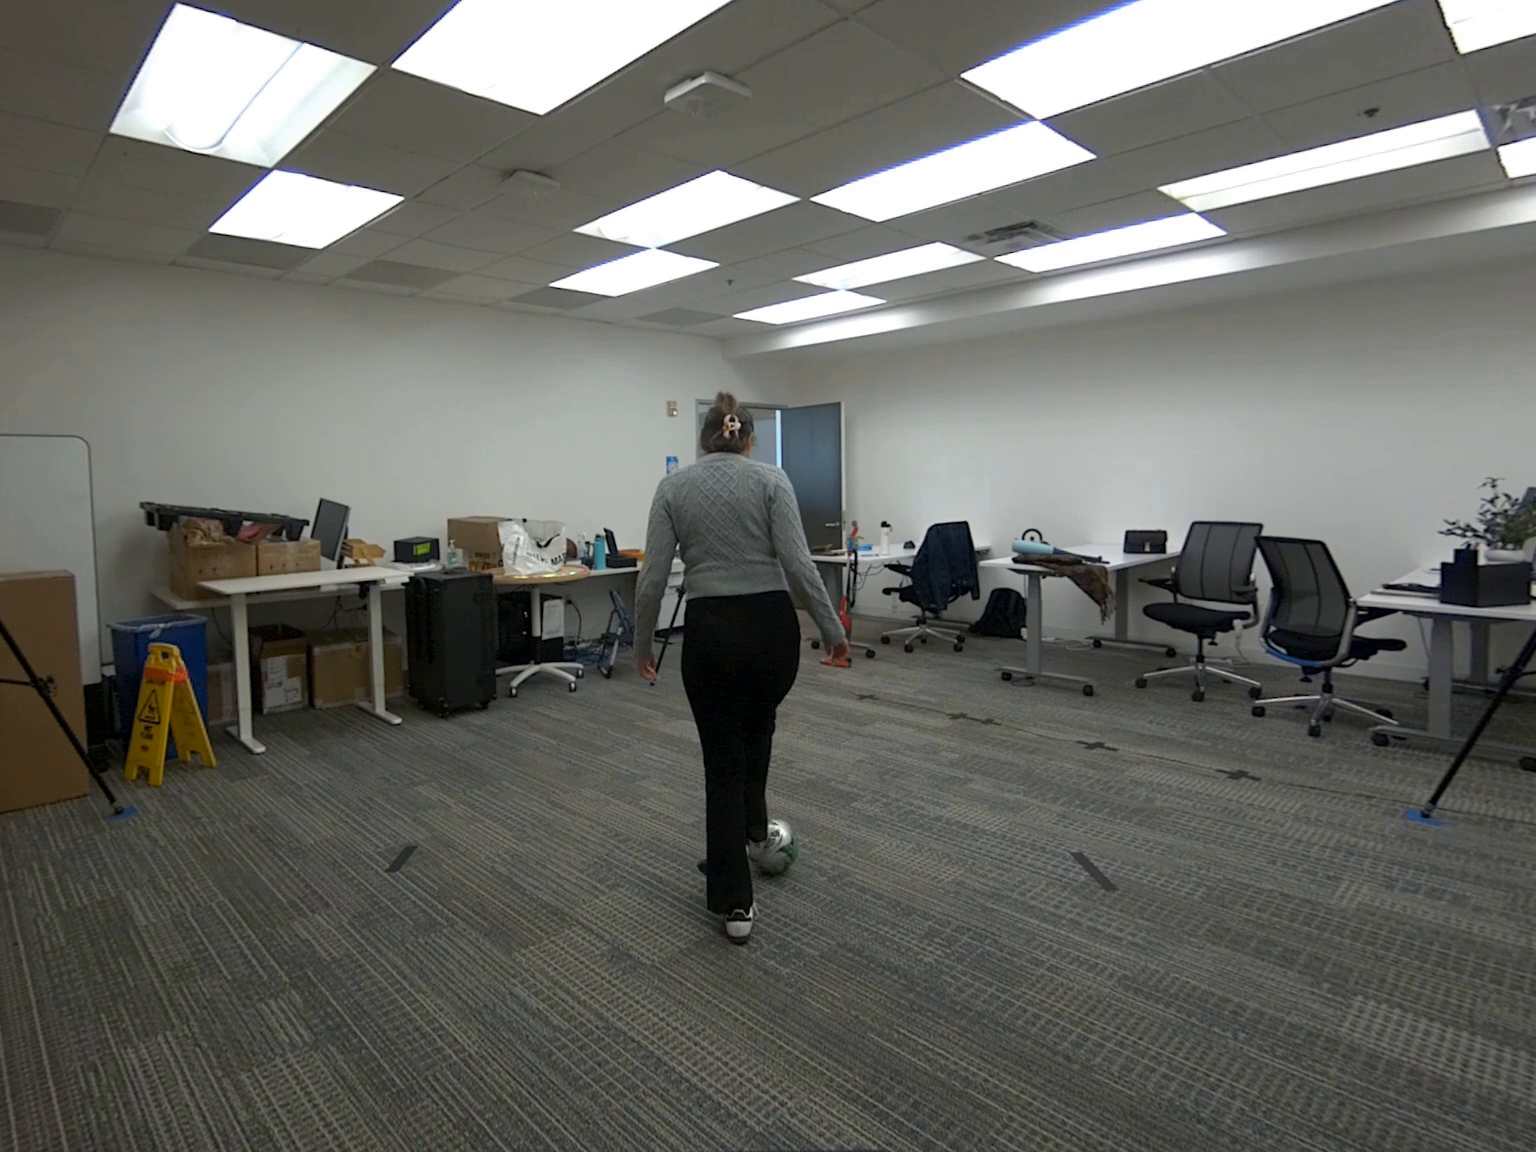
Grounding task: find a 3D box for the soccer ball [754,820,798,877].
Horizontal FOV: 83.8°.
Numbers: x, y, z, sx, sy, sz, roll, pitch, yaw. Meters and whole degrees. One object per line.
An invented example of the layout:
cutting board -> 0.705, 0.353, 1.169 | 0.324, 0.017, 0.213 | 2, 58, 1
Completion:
soccer ball -> 0.022, 0.957, 3.036 | 0.187, 0.187, 0.188 | -1, 5, -2
